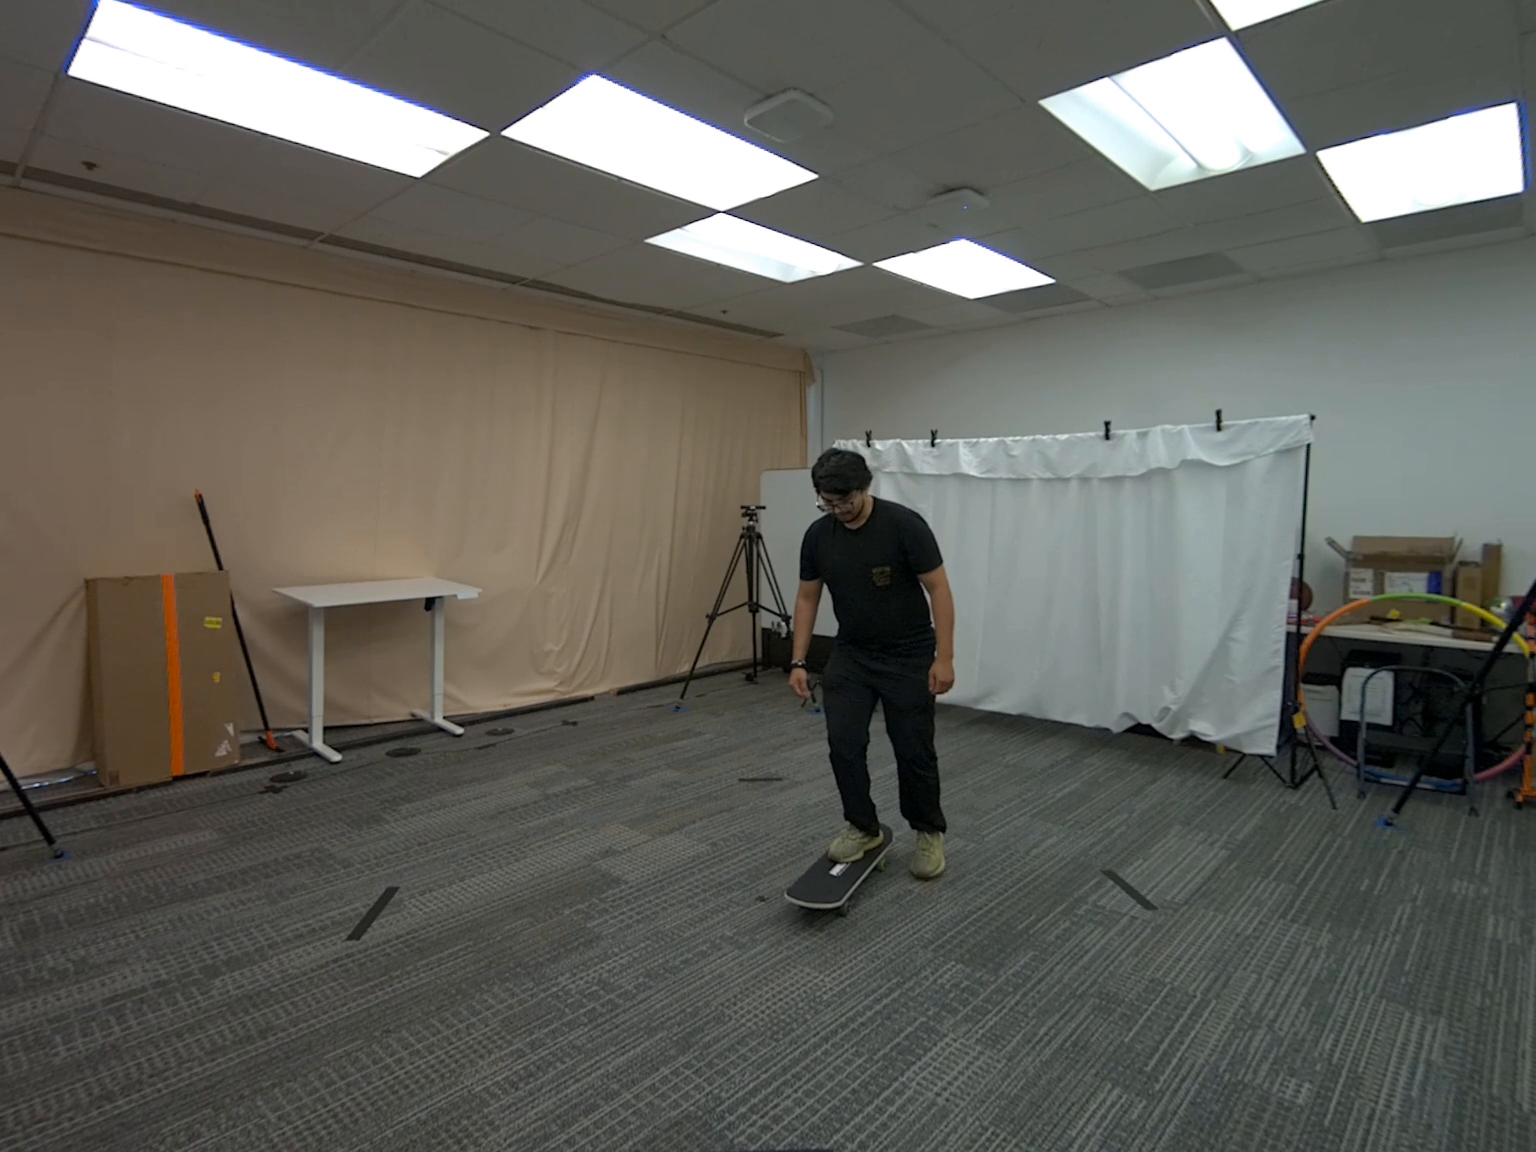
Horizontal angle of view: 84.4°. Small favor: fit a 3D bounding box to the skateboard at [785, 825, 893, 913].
[{"bbox_3d":[0.280,1.086,3.068,0.198,0.110,0.767,2,5,25],"label":"skateboard"}]
